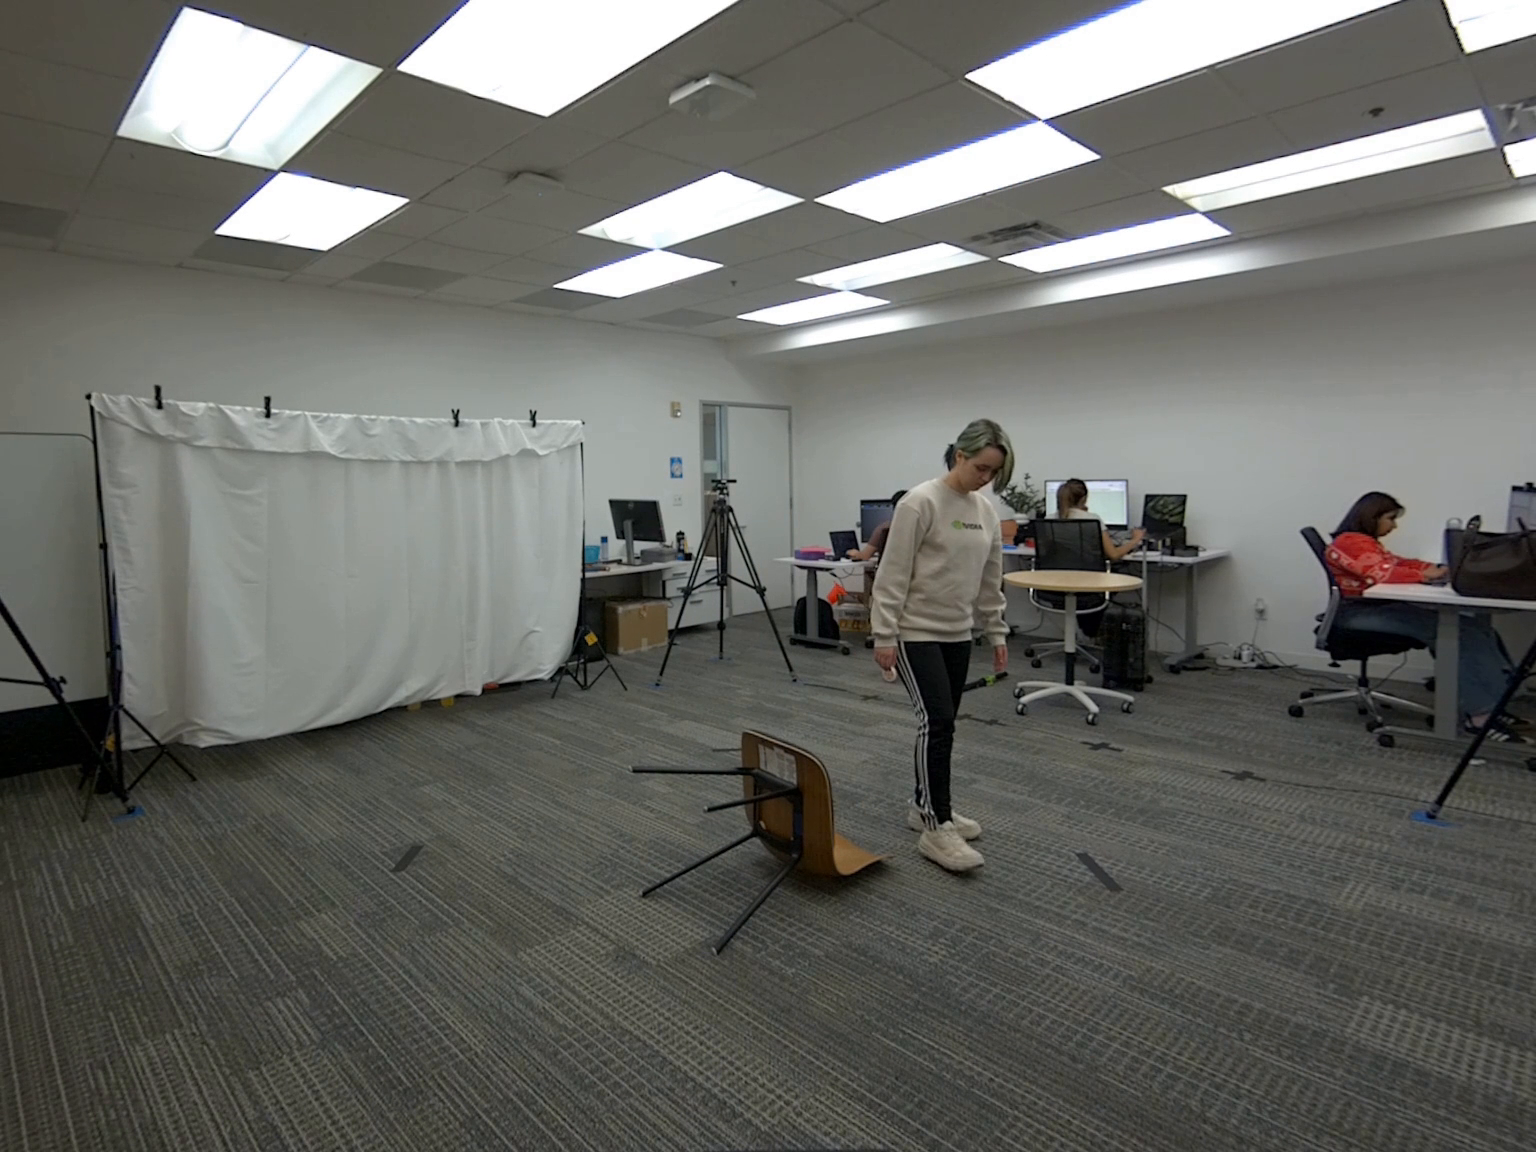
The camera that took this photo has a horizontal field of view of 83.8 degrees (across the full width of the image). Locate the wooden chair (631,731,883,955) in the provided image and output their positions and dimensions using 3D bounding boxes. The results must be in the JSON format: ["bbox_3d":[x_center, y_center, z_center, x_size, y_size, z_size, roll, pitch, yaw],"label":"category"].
[{"bbox_3d":[0.029,0.810,2.914,0.854,0.521,0.493,-4,6,-37],"label":"wooden chair"}]
